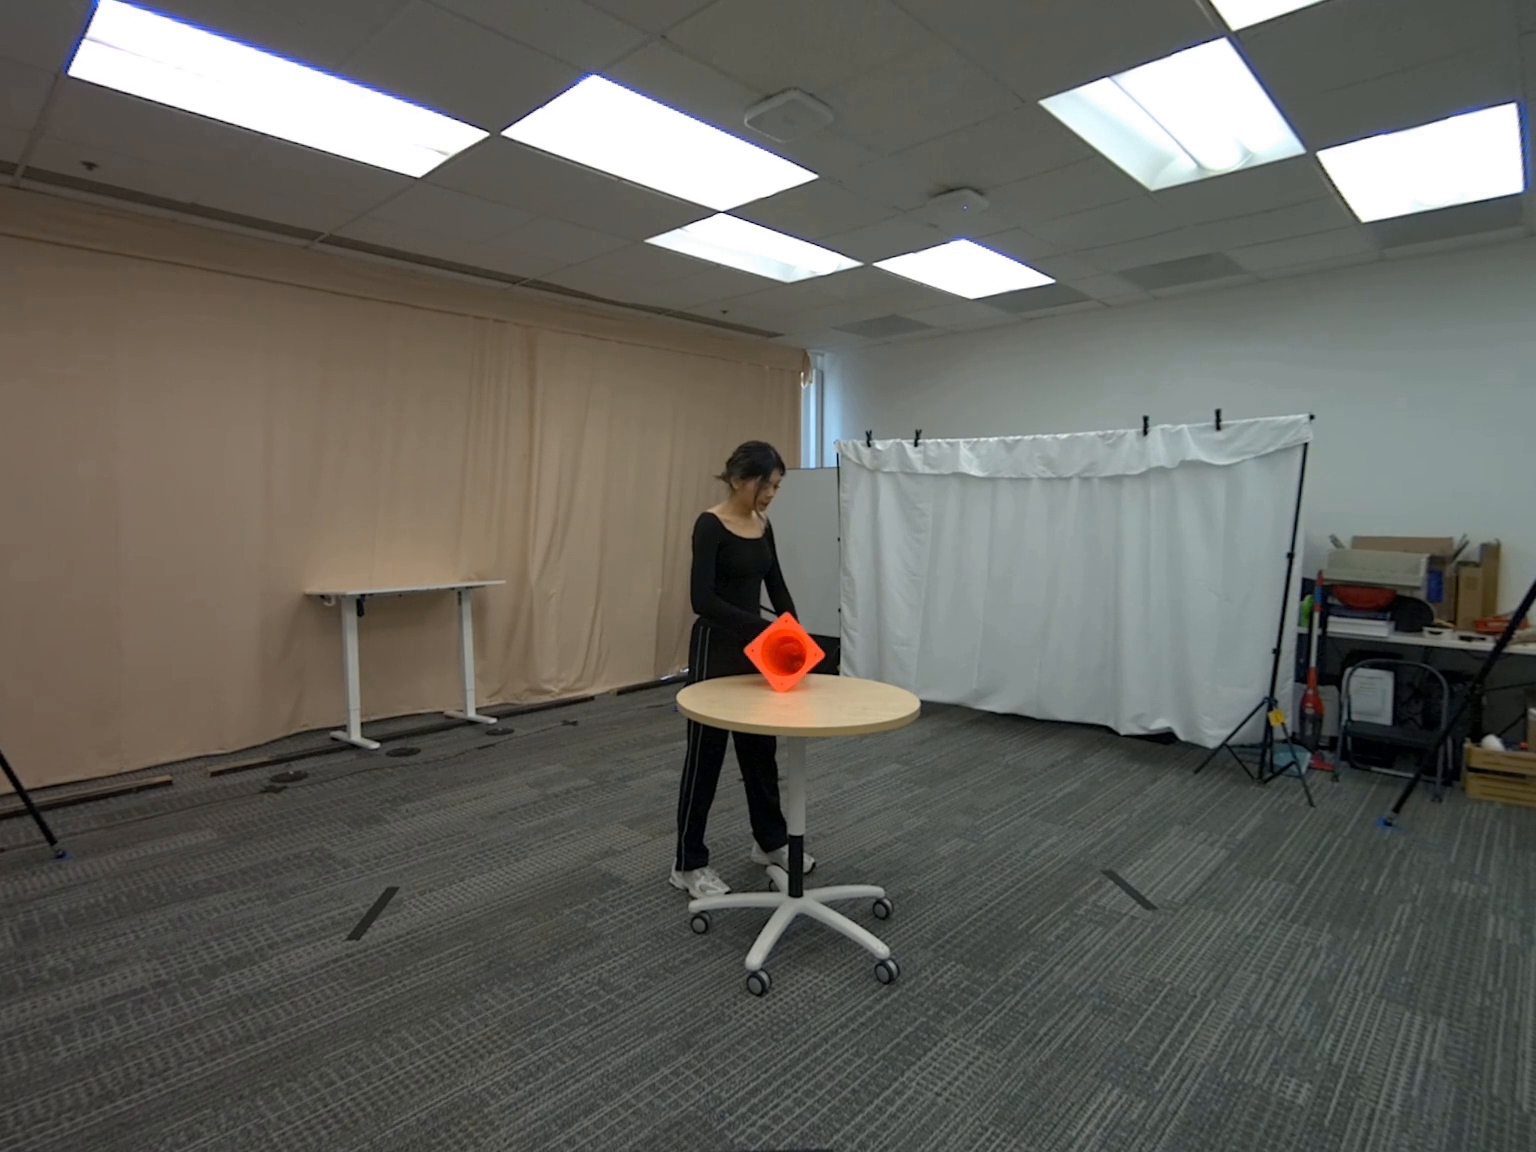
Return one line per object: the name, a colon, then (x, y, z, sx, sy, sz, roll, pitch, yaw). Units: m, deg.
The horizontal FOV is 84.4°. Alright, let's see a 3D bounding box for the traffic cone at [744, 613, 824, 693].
traffic cone: (0.070, 0.299, 2.949, 0.205, 0.208, 0.376, -37, -18, -3)
